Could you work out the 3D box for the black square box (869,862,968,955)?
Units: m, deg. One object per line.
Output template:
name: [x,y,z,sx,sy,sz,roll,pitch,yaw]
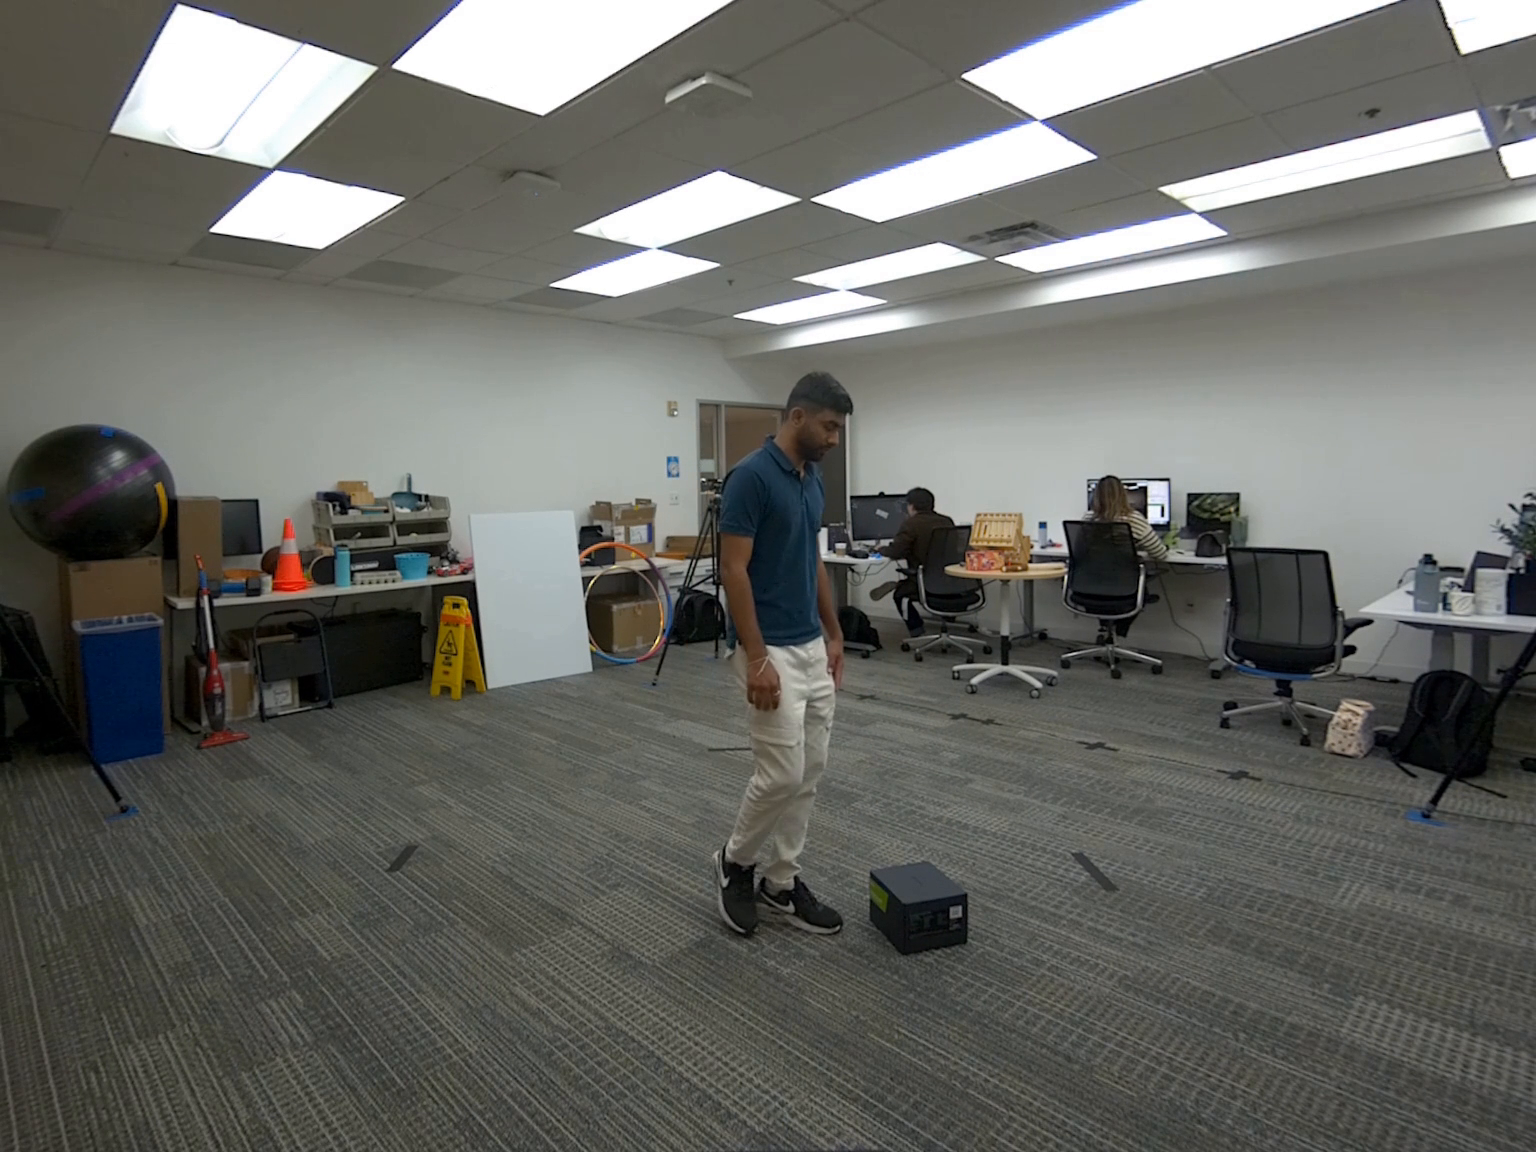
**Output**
black square box: [0.459,1.005,2.618,0.213,0.155,0.232,-3,5,-19]
